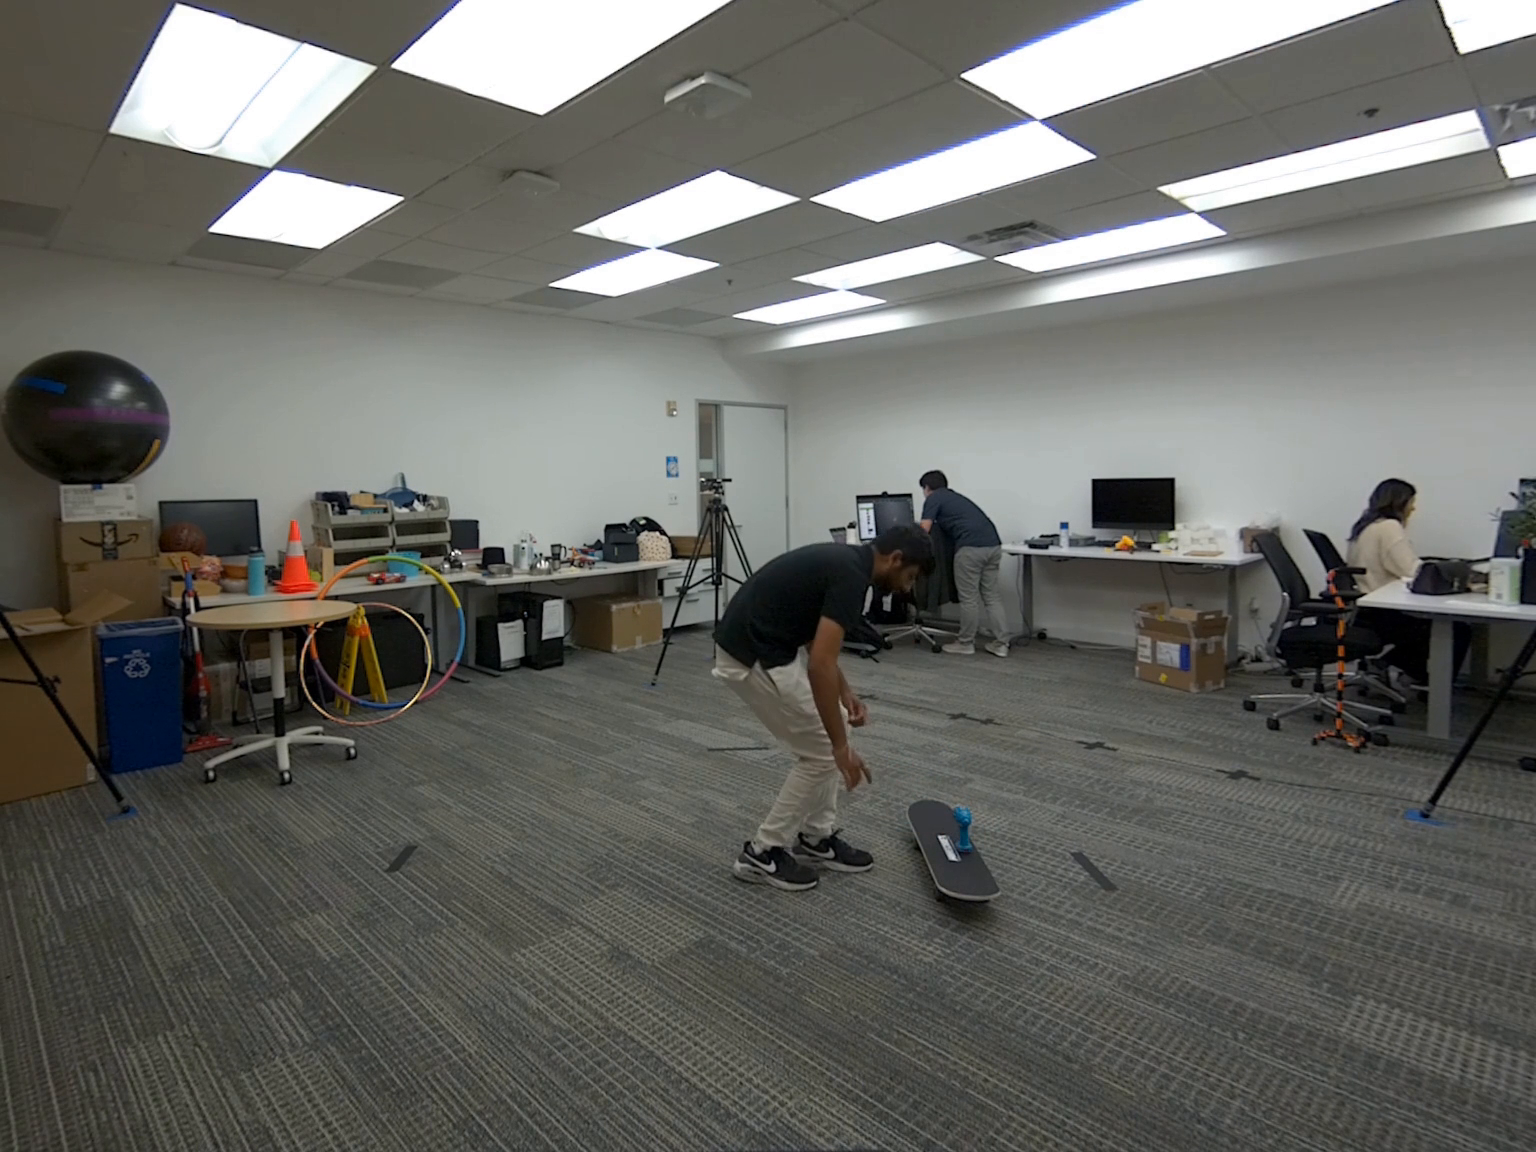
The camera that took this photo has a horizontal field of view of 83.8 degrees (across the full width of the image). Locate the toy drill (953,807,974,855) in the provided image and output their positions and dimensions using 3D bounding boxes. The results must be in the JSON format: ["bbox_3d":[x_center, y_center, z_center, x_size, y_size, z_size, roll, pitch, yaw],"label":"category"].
[{"bbox_3d":[0.679,0.874,3.020,0.061,0.145,0.170,-3,4,1],"label":"toy drill"}]
